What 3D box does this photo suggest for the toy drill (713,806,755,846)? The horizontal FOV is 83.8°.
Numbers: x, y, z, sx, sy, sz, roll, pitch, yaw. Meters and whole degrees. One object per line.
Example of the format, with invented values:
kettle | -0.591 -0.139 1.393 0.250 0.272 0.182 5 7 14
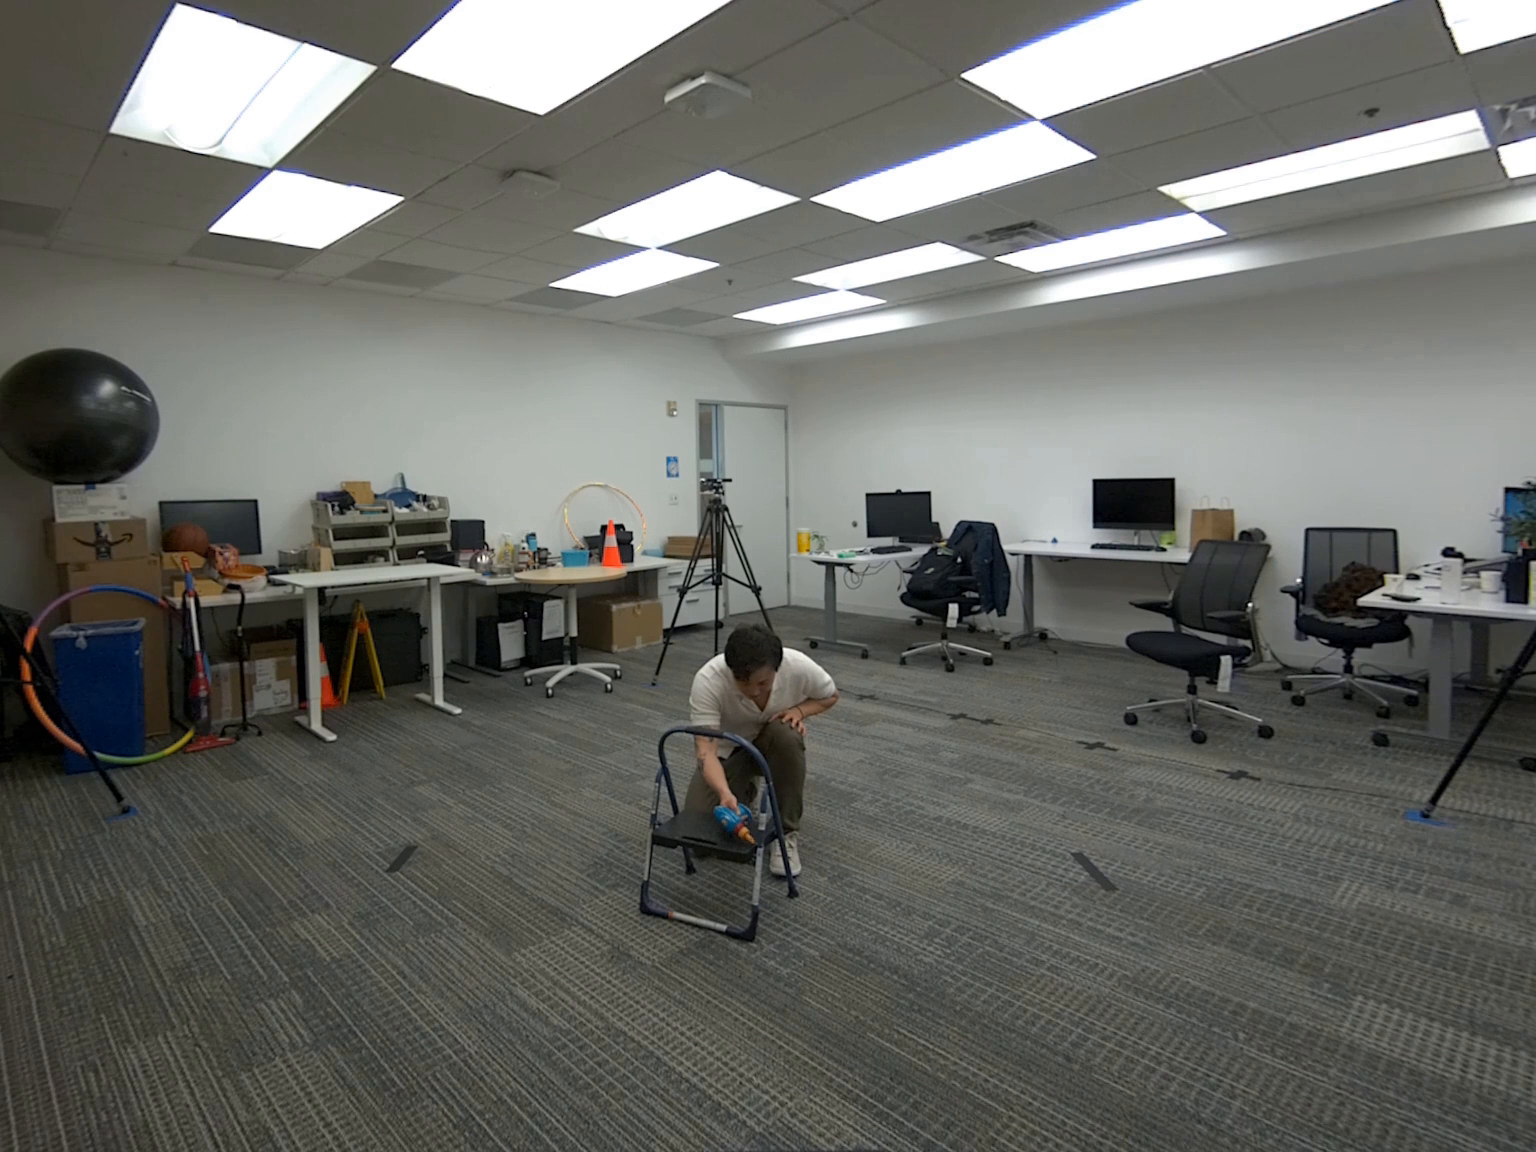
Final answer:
toy drill | -0.075 0.796 2.721 0.176 0.061 0.141 39 13 32
